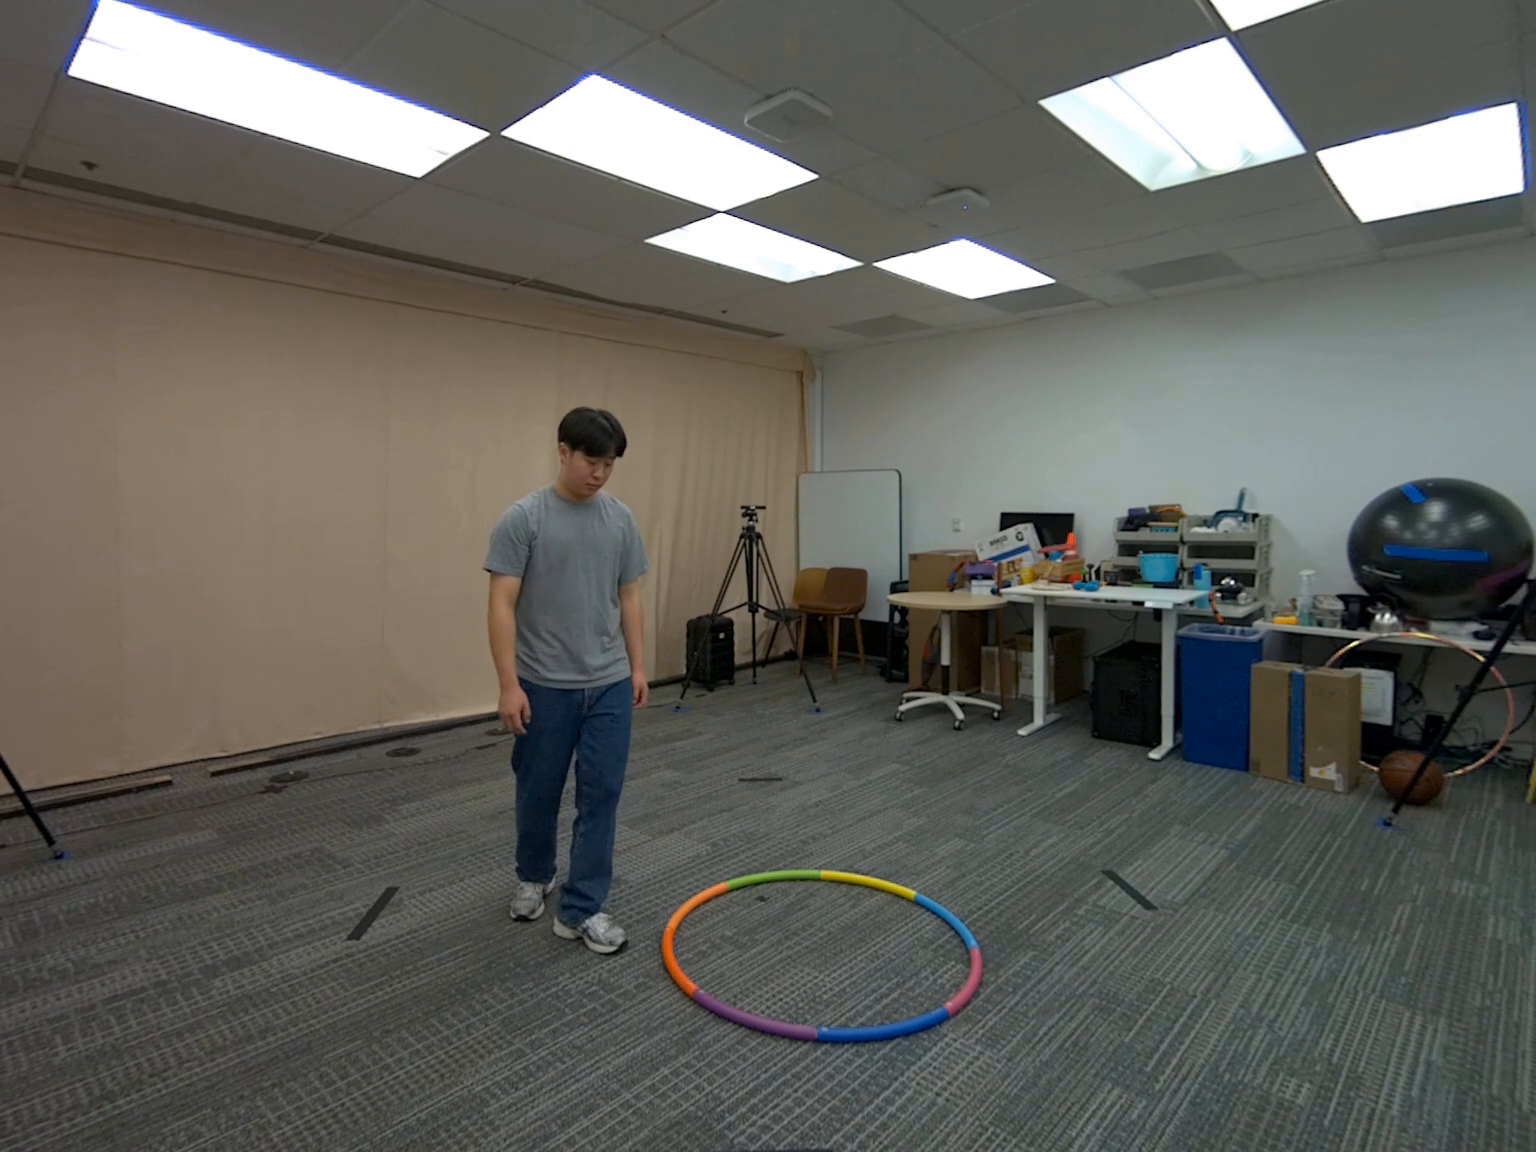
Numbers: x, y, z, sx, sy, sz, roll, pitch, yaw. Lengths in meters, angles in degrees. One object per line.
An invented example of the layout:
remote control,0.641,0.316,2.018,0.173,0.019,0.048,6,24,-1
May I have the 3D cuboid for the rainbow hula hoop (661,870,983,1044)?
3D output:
rainbow hula hoop,0.162,1.139,2.669,0.978,0.035,0.982,0,5,-2
